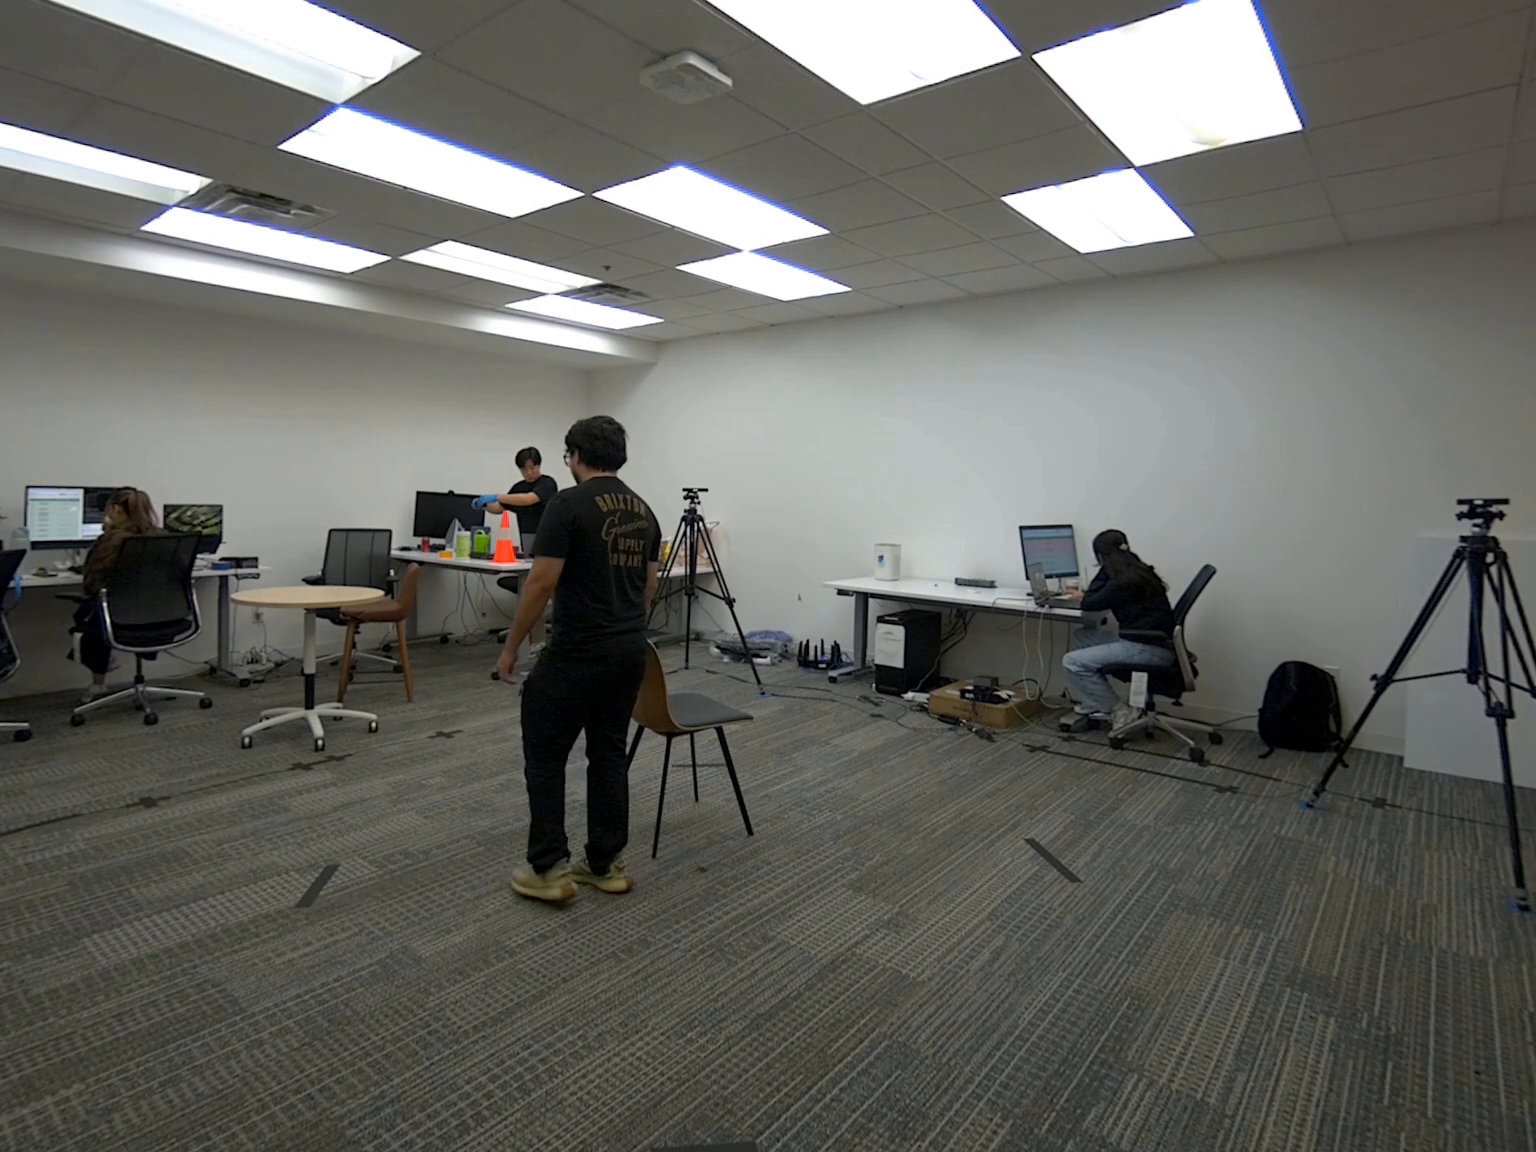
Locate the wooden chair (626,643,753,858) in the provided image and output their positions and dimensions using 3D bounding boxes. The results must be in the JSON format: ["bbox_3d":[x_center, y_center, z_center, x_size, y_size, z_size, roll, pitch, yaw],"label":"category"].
[{"bbox_3d":[-0.366,0.604,3.472,0.510,0.873,0.493,-6,6,-33],"label":"wooden chair"}]
